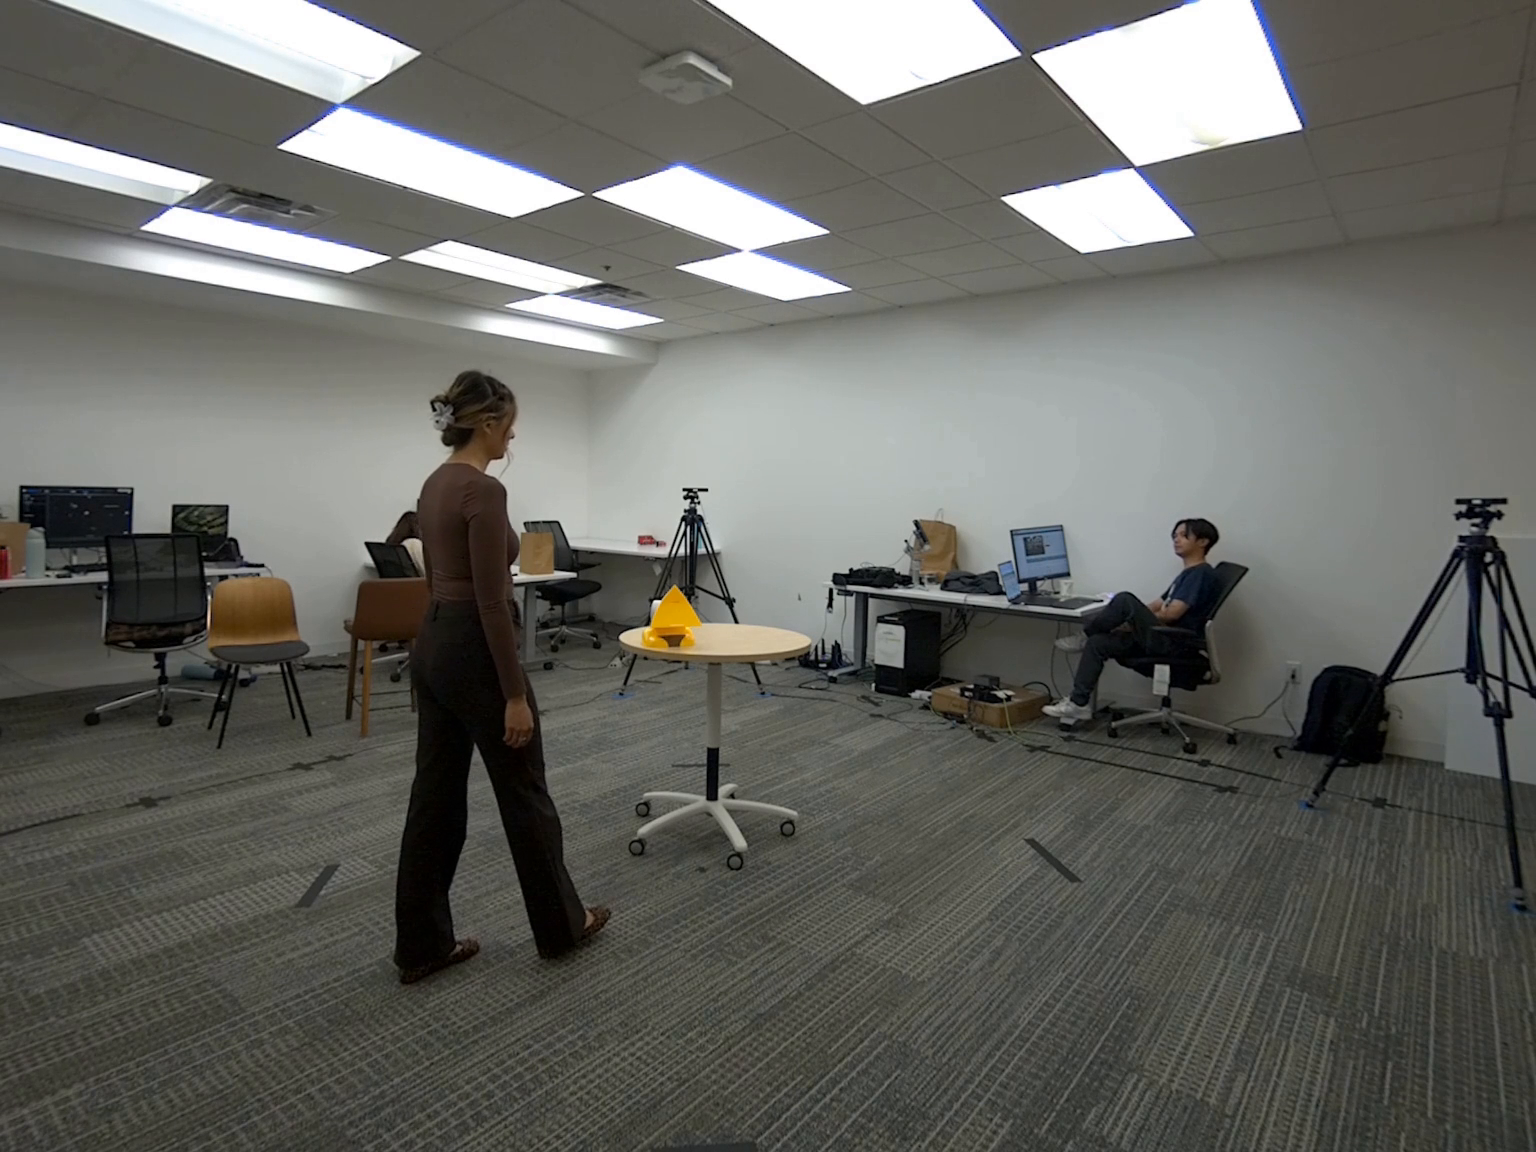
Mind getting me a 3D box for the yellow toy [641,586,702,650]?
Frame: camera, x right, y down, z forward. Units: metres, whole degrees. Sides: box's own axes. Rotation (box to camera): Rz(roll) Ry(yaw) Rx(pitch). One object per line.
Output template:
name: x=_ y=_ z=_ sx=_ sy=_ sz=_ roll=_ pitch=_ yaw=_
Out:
yellow toy: x=-0.382 y=0.143 z=3.233 sx=0.200 sy=0.230 sz=0.198 roll=-1 pitch=4 yaw=-23
